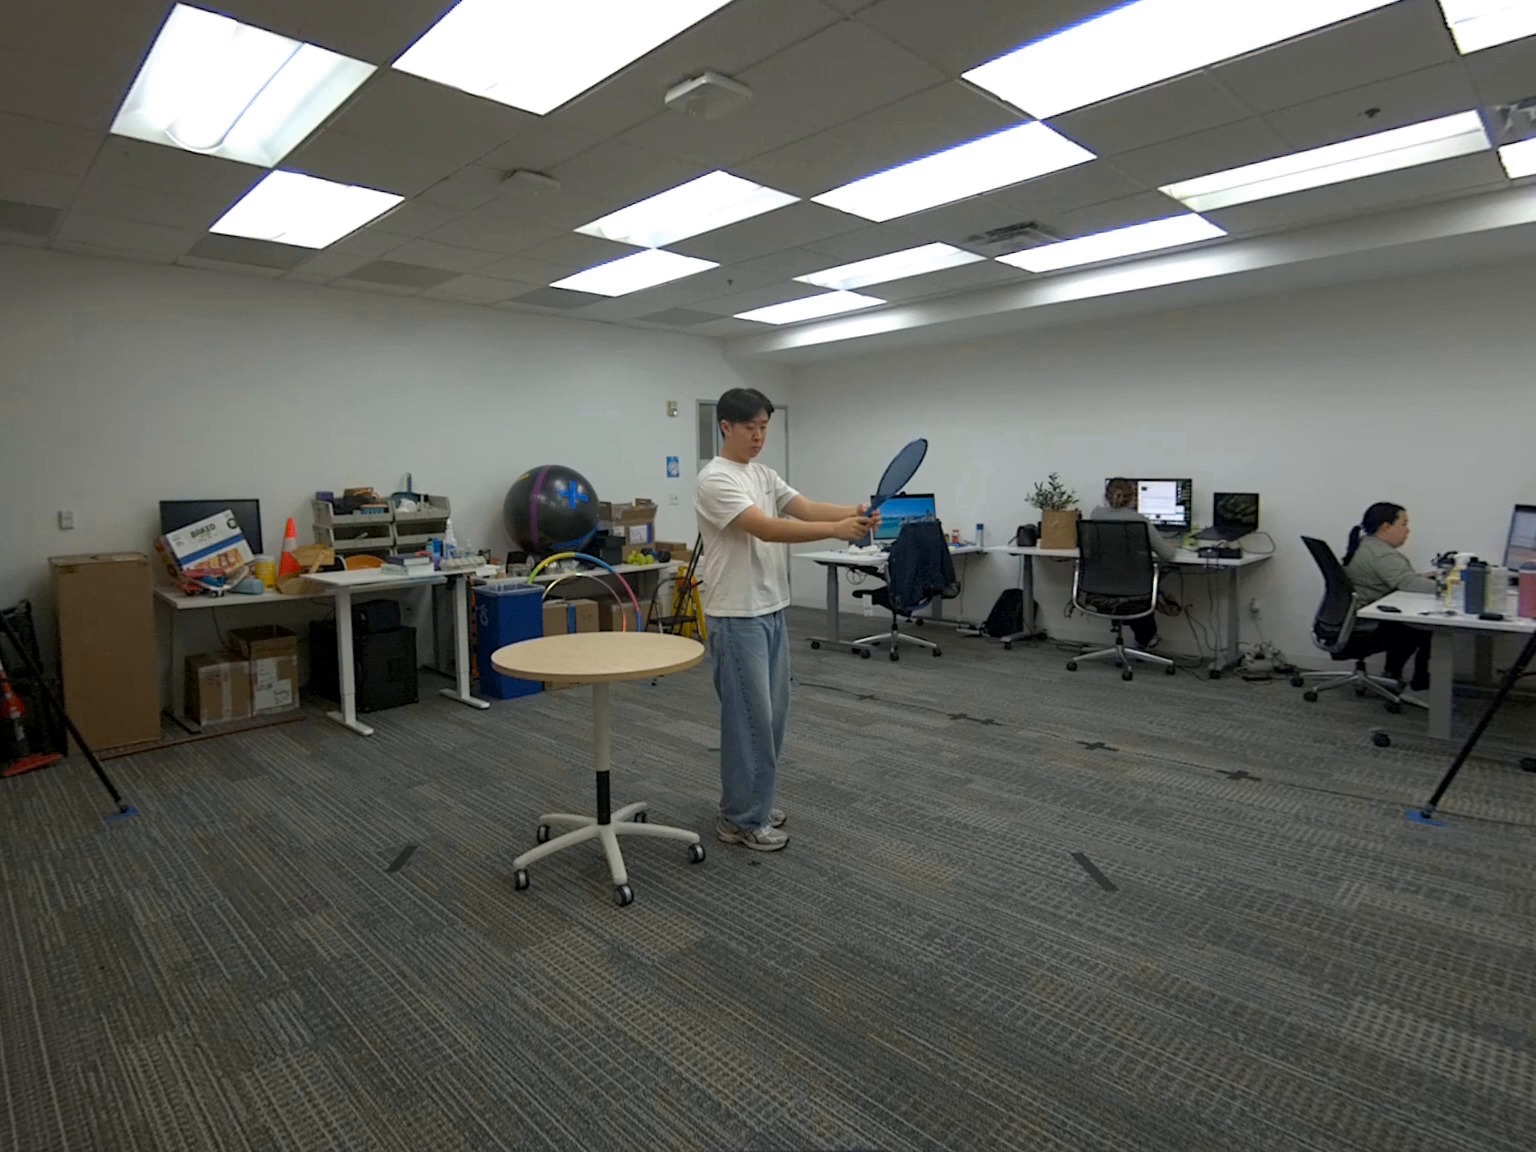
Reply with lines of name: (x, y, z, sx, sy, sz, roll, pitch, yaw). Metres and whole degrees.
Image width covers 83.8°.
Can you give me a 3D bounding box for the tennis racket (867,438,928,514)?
tennis racket: (0.439, -0.301, 3.090, 0.033, 0.432, 0.207, 39, 12, 25)
